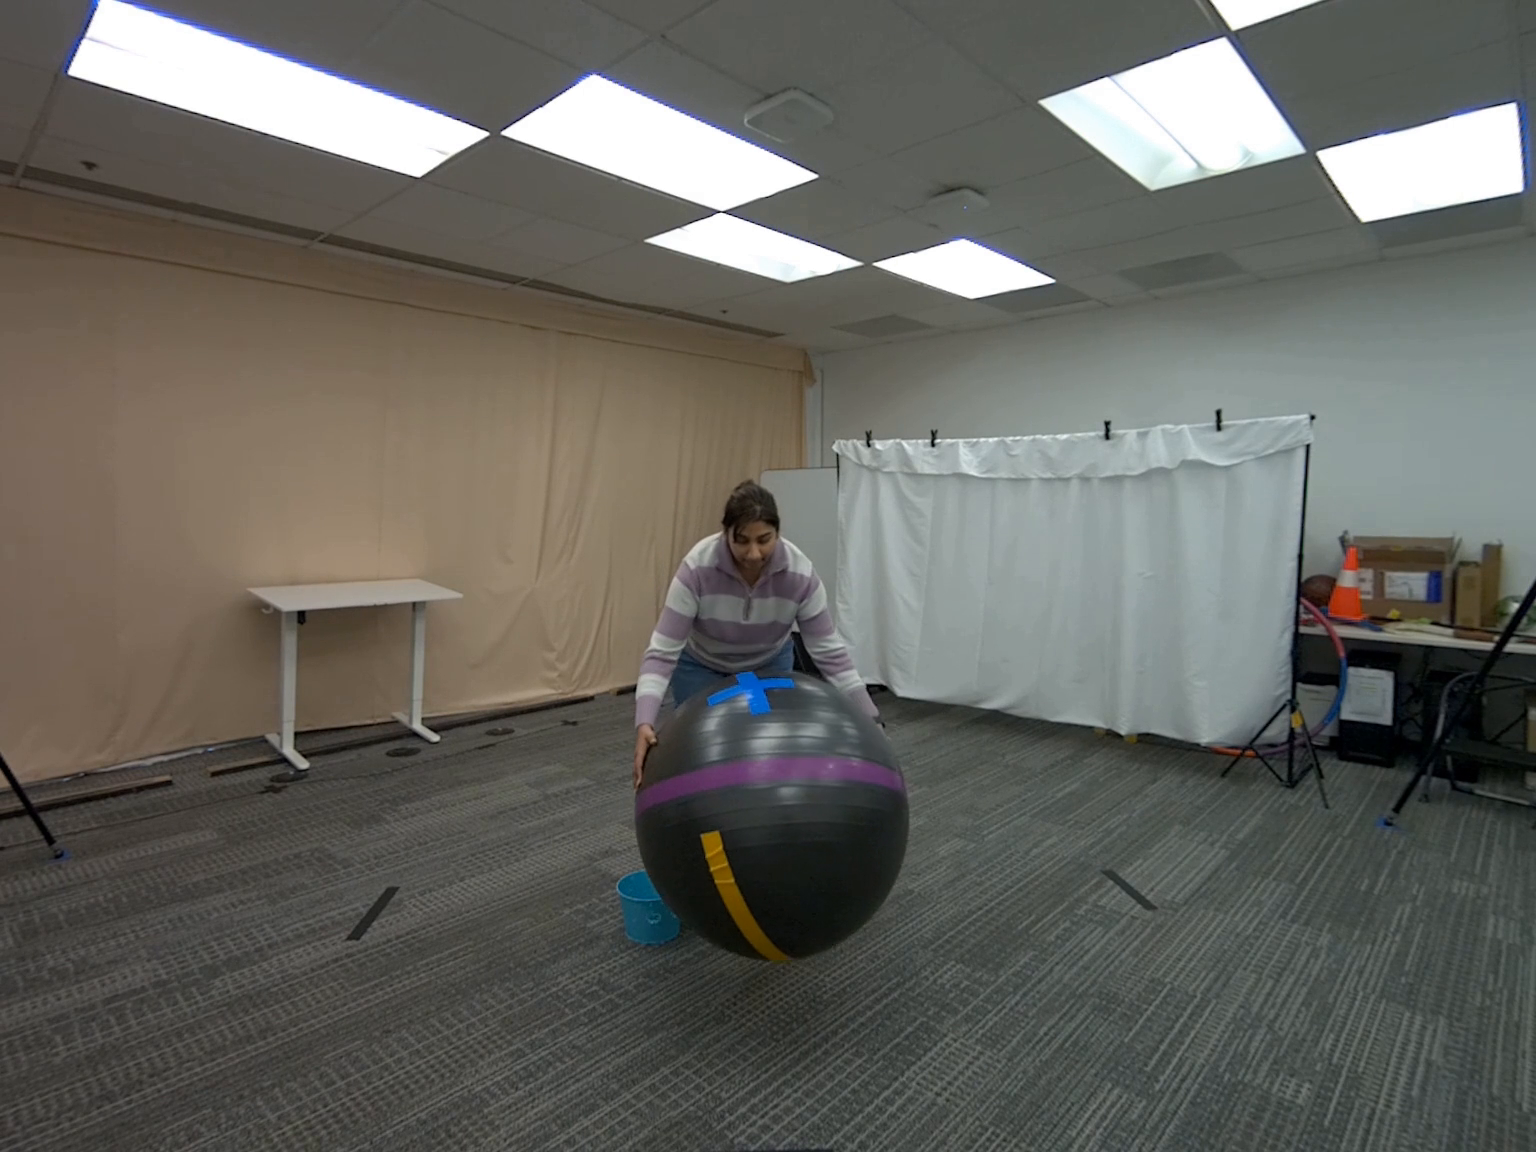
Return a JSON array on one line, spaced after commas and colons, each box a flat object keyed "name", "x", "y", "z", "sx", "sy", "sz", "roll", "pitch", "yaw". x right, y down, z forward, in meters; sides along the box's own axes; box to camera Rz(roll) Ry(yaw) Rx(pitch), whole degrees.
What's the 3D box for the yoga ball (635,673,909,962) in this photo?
[{"name": "yoga ball", "x": 0.005, "y": 0.653, "z": 2.332, "sx": 0.757, "sy": 0.756, "sz": 0.760, "roll": 0, "pitch": 4, "yaw": -2}]
